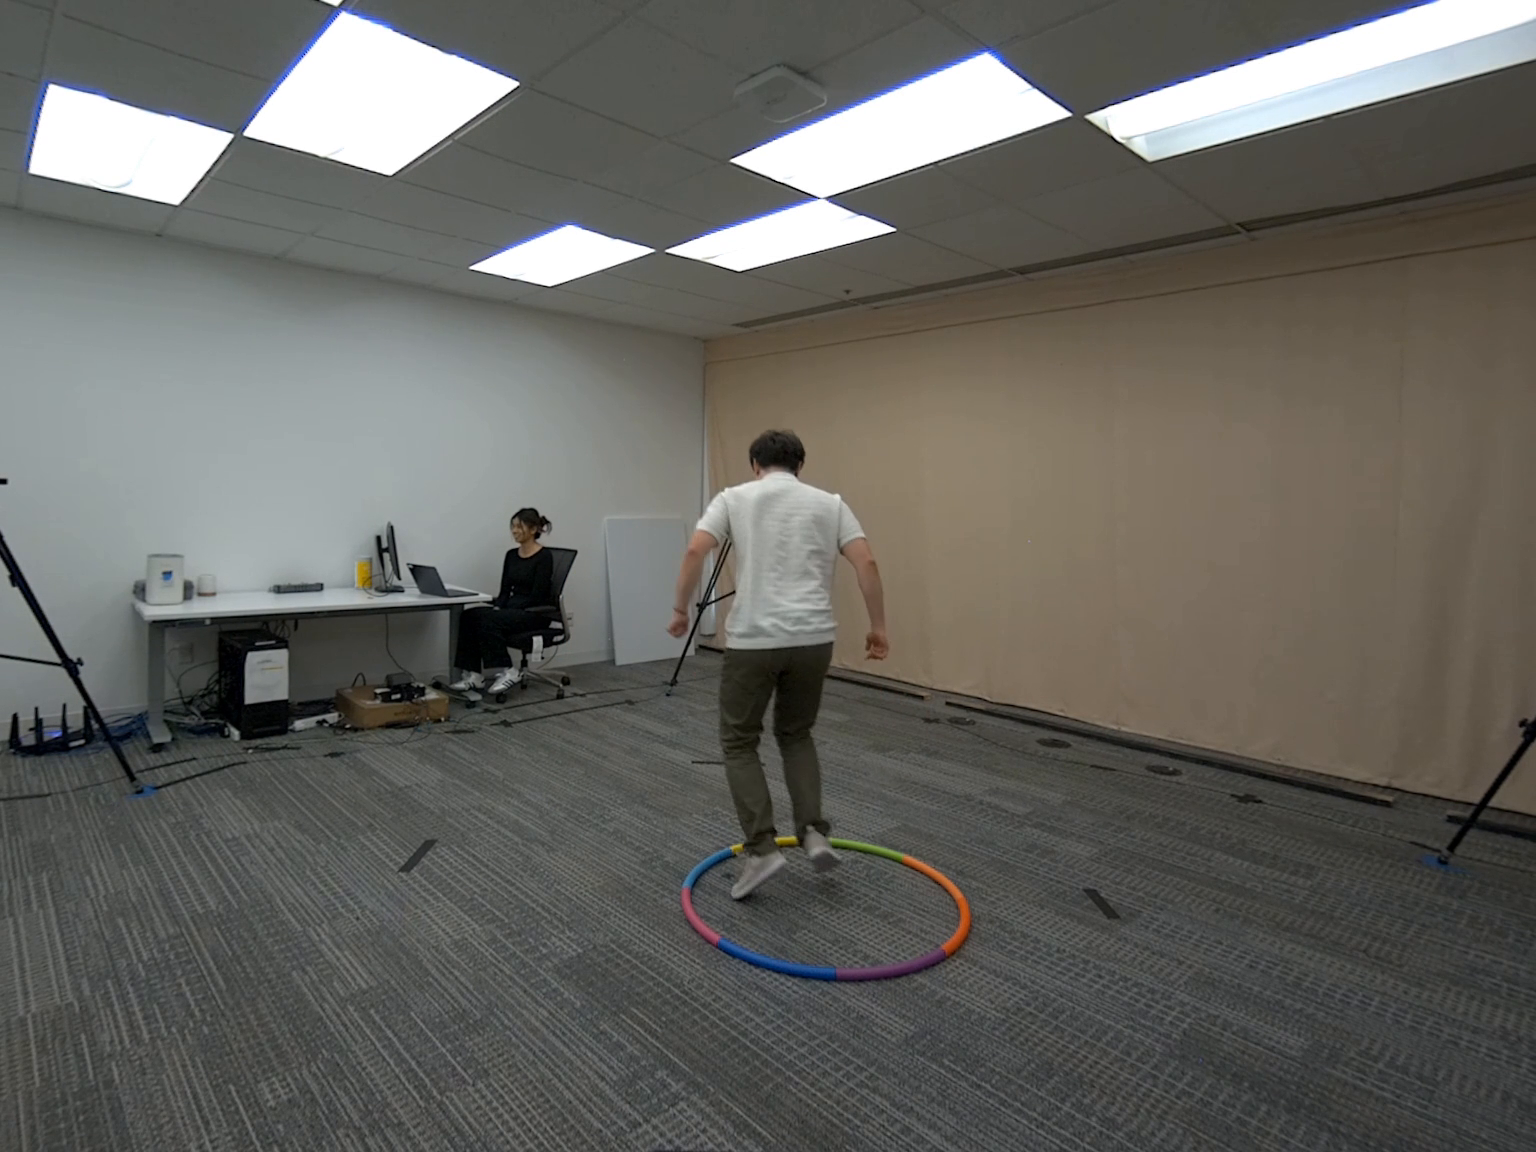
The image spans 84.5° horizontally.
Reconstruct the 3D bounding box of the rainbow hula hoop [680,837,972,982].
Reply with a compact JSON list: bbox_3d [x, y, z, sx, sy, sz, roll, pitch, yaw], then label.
[{"bbox_3d":[0.181,1.103,2.924,0.978,0.035,0.982,1,6,-1],"label":"rainbow hula hoop"}]
